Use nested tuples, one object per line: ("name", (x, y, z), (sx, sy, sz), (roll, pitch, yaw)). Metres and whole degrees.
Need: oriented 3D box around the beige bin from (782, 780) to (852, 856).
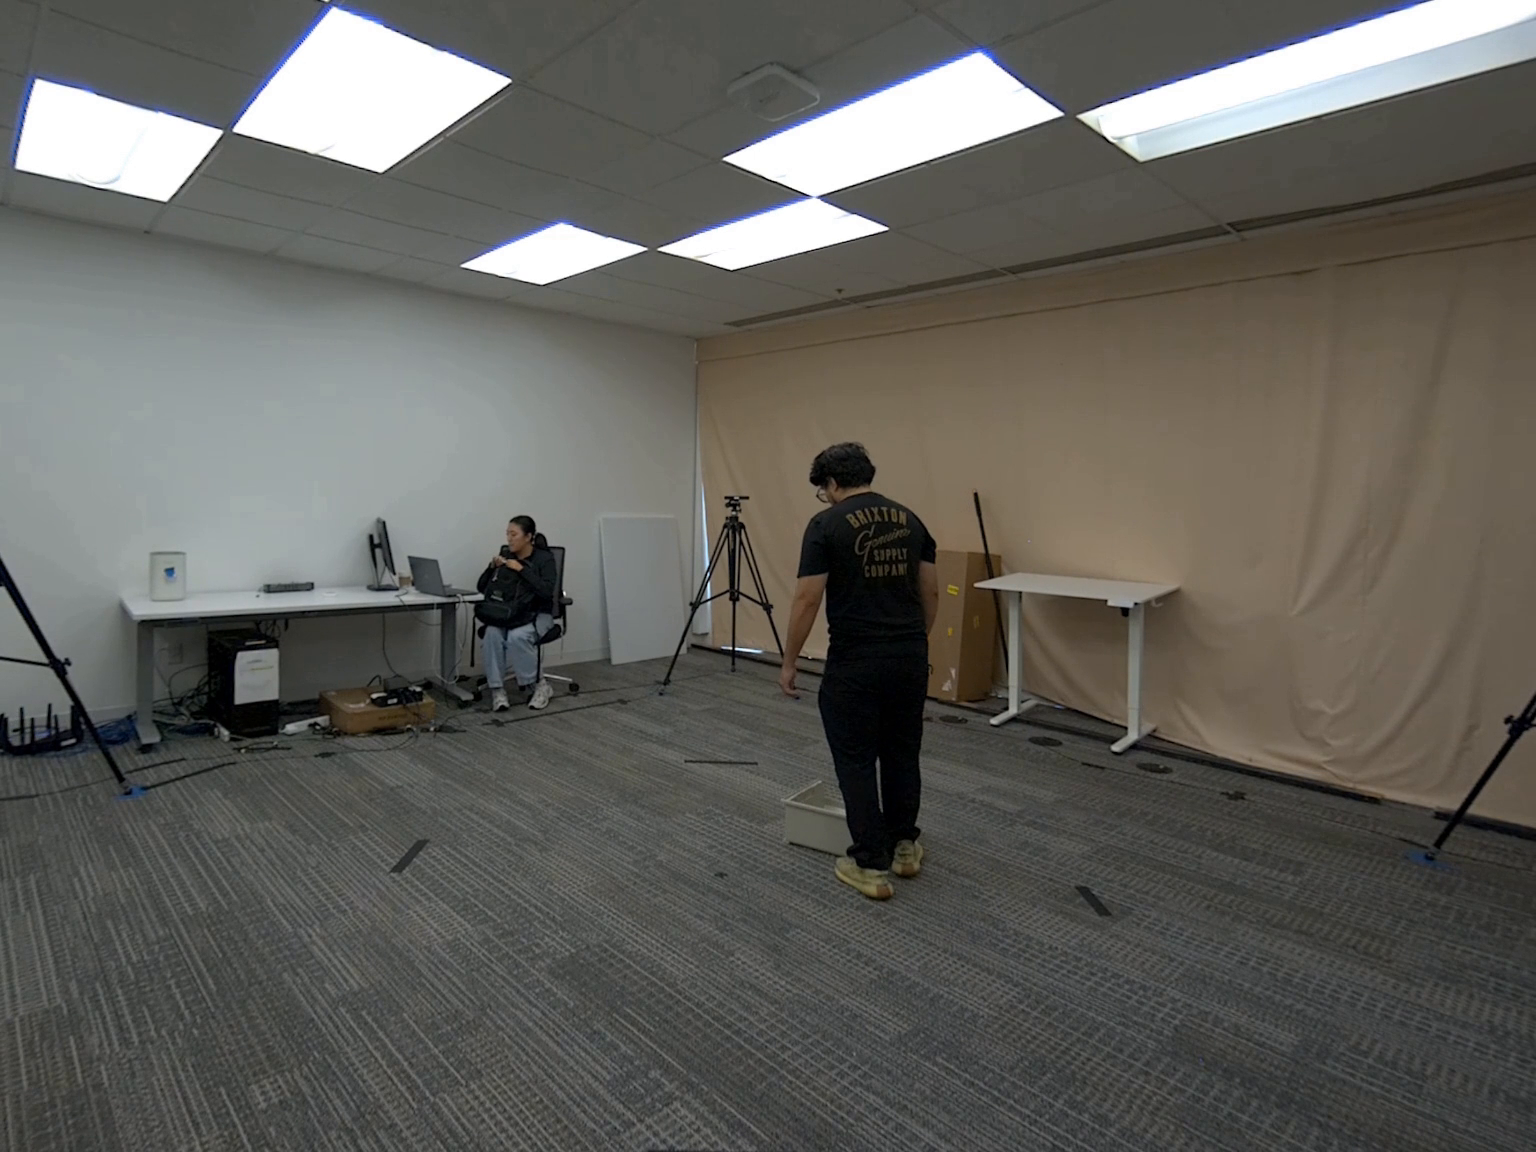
("beige bin", (0.323, 0.994, 3.445), (0.432, 0.188, 0.370), (4, 7, 32))
